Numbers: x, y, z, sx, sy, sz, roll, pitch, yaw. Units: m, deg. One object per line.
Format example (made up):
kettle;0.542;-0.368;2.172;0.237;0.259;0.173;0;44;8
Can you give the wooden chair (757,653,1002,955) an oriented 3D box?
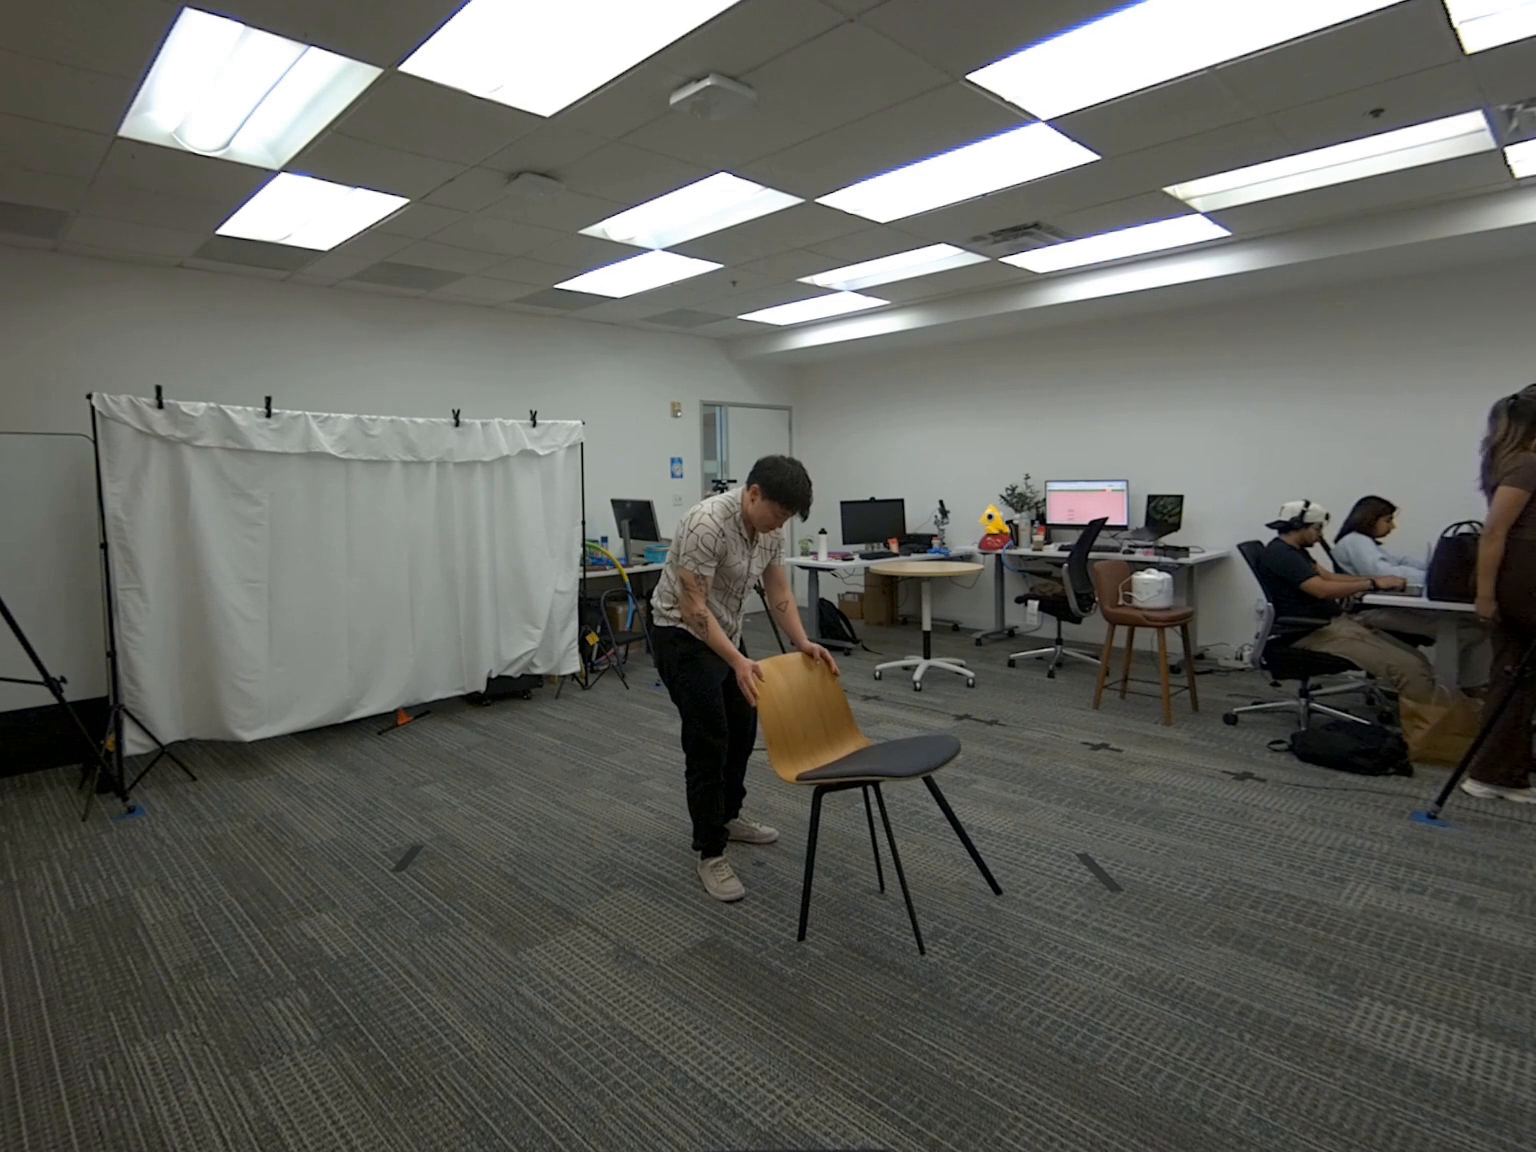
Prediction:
wooden chair;0.314;0.622;2.630;0.465;0.888;0.531;-5;-15;-46
